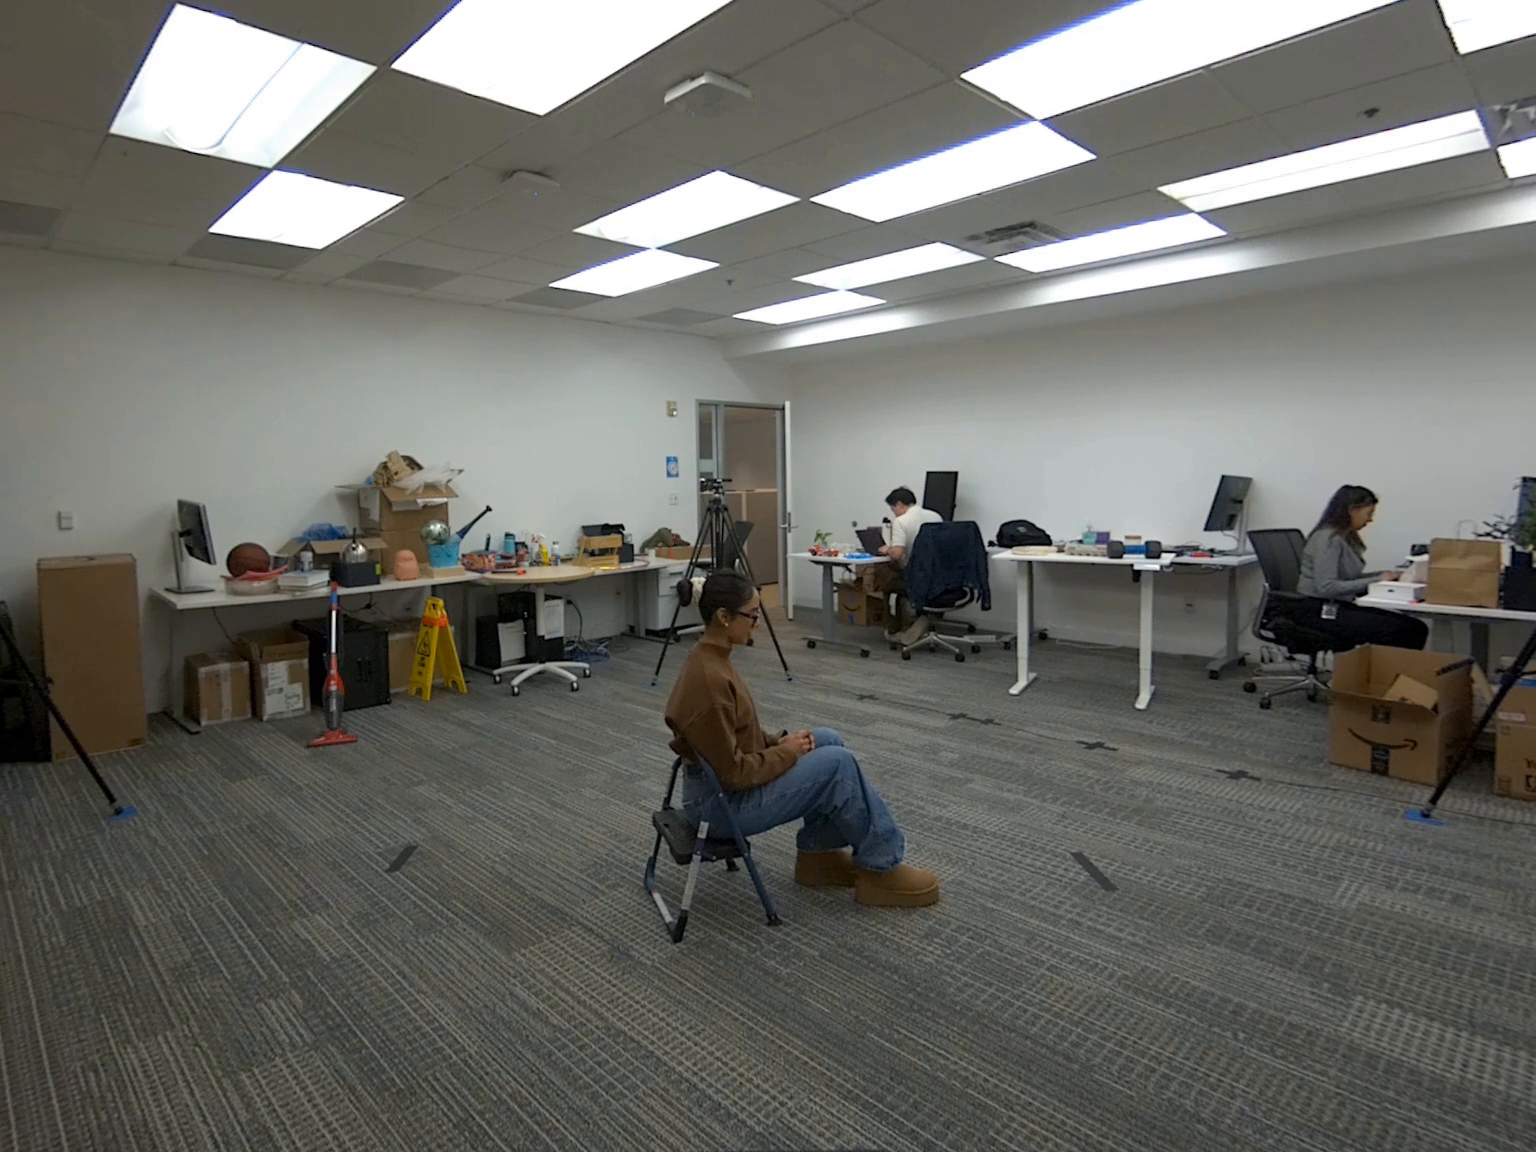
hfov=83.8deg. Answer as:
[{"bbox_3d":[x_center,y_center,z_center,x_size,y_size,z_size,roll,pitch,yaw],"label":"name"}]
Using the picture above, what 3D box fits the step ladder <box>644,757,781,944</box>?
[{"bbox_3d":[-0.200,0.786,2.805,0.343,0.604,0.440,-3,4,-21],"label":"step ladder"}]
